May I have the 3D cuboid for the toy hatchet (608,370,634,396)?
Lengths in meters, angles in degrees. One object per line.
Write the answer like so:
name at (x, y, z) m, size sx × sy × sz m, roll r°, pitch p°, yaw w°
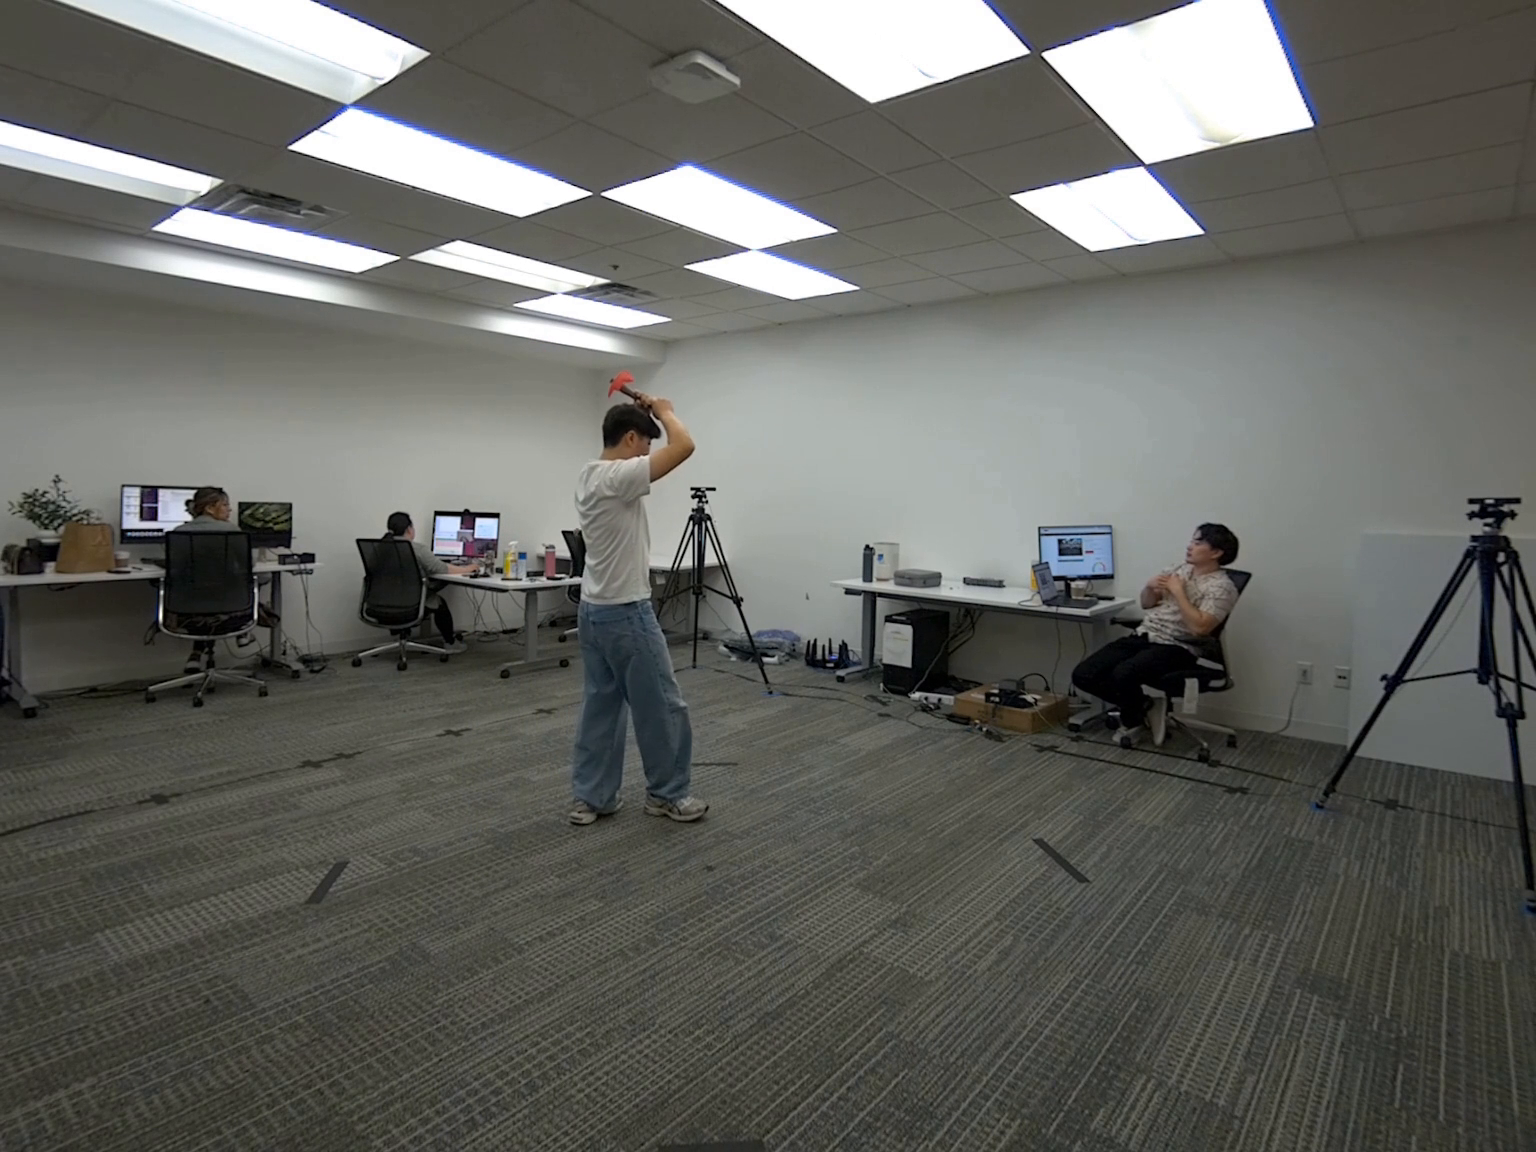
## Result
toy hatchet at (-0.541, -0.787, 3.571) m, size 0.268 × 0.131 × 0.030 m, roll 14°, pitch -5°, yaw -6°
